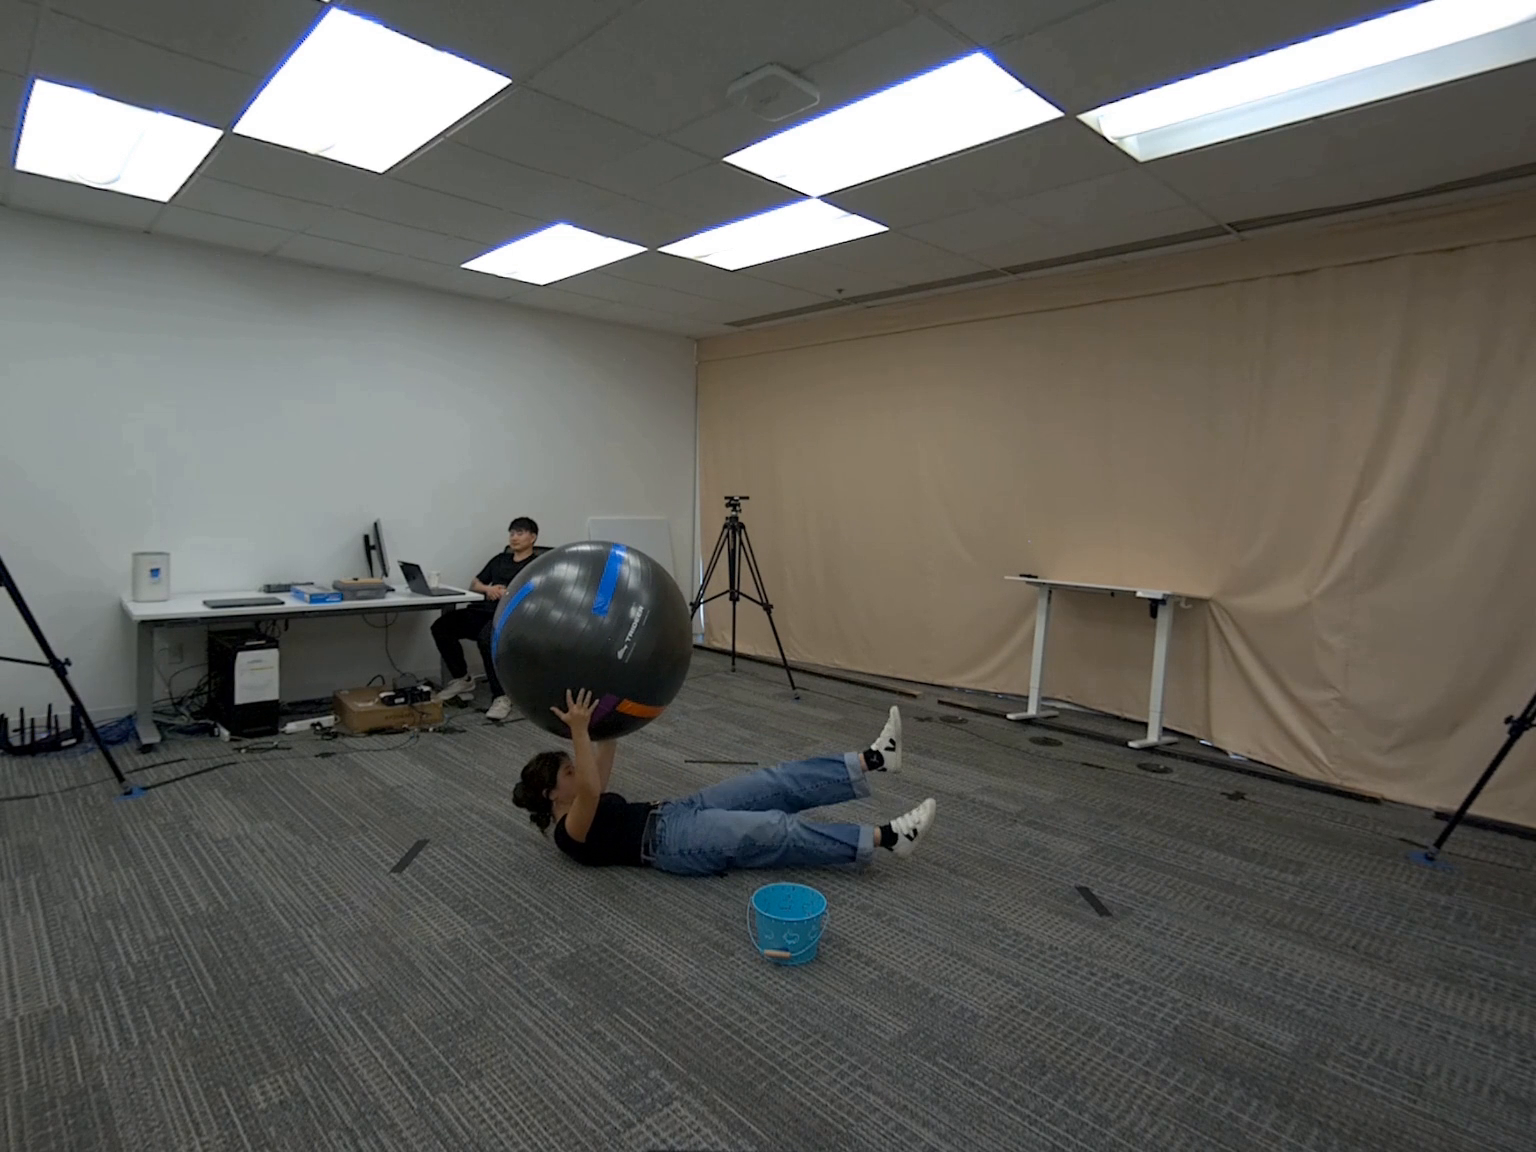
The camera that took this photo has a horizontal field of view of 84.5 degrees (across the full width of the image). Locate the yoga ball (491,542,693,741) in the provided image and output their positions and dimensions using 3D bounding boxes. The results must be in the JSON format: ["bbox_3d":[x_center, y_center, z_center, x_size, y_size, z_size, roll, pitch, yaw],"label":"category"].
[{"bbox_3d":[-0.668,0.248,3.200,0.757,0.756,0.761,1,4,-1],"label":"yoga ball"}]
